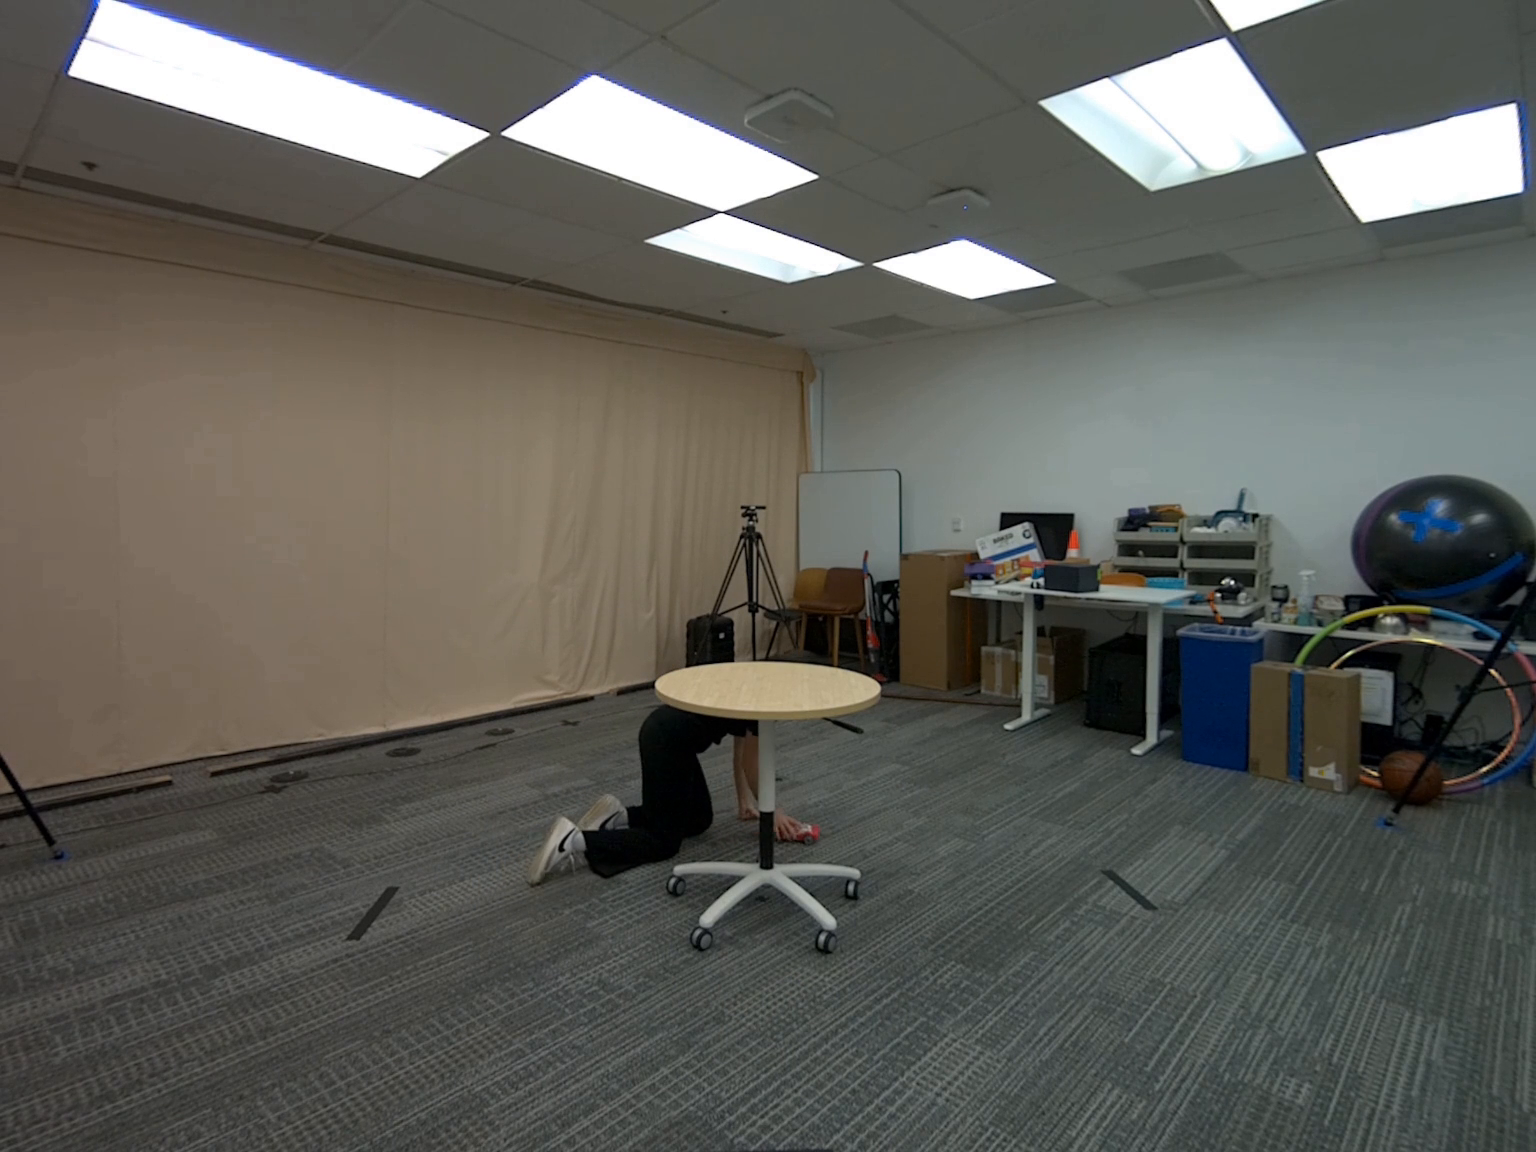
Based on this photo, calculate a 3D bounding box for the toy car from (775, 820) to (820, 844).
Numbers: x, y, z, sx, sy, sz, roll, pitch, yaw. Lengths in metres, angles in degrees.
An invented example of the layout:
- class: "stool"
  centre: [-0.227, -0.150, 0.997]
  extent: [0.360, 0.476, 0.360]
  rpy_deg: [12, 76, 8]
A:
- class: "toy car"
  centre: [0.082, 1.074, 3.527]
  extent: [0.258, 0.083, 0.129]
  rpy_deg: [12, 8, 10]
